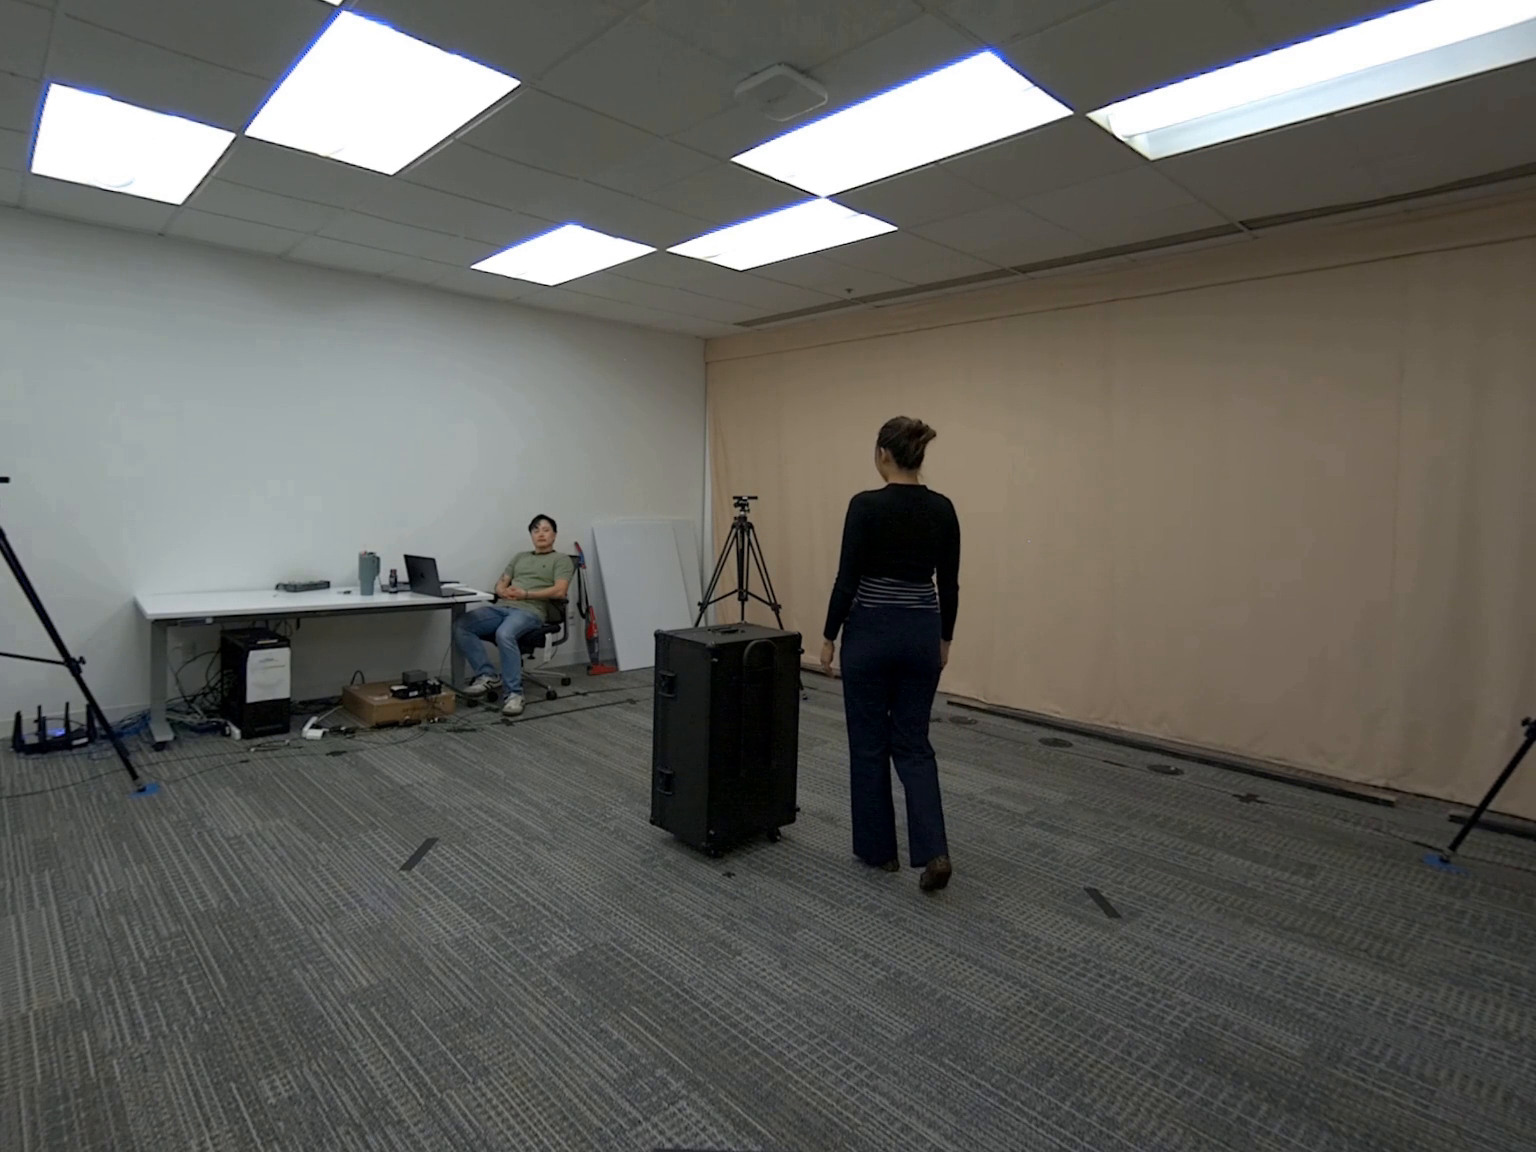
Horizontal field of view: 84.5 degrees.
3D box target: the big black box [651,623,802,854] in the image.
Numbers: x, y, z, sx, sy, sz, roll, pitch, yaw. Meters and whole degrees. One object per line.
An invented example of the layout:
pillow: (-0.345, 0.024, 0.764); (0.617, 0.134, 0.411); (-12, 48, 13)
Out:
big black box: (-0.165, 0.596, 3.387); (0.509, 0.859, 0.406); (-1, 5, -43)
